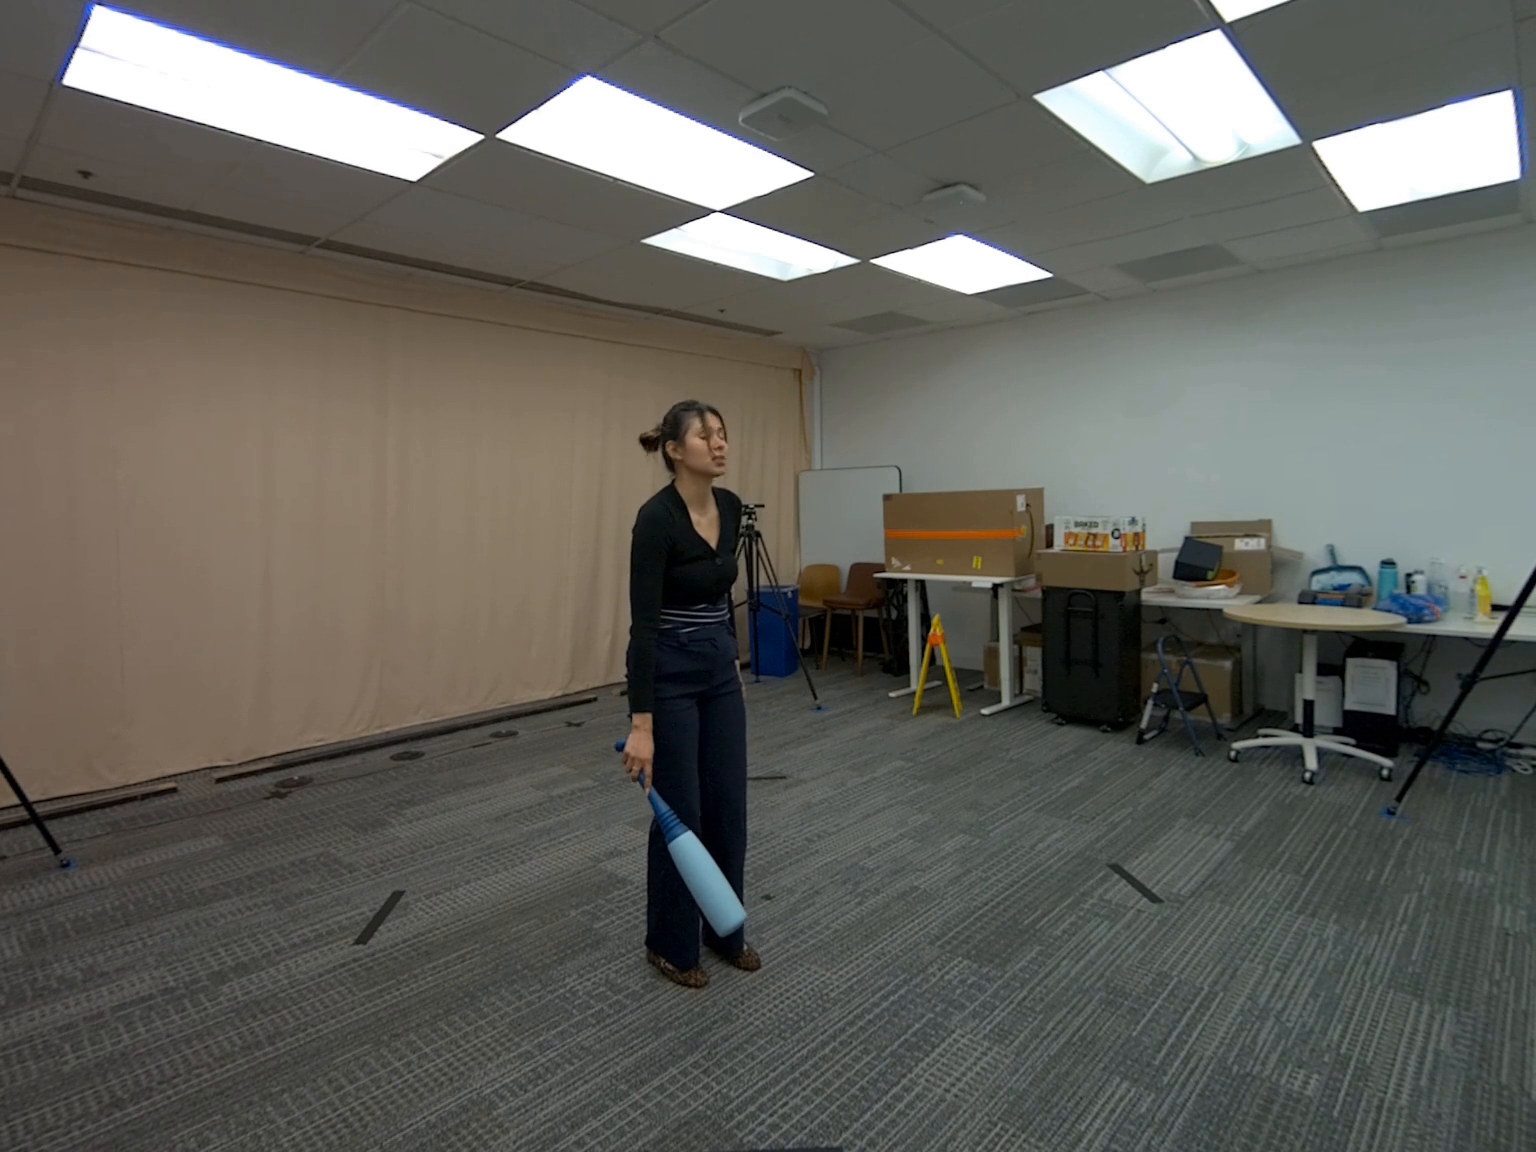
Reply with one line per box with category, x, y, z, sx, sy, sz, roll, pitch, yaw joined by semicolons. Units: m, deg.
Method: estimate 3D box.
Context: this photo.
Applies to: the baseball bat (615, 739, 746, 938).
baseball bat;-0.225;0.641;2.126;0.088;0.556;0.088;-30;-22;-15
